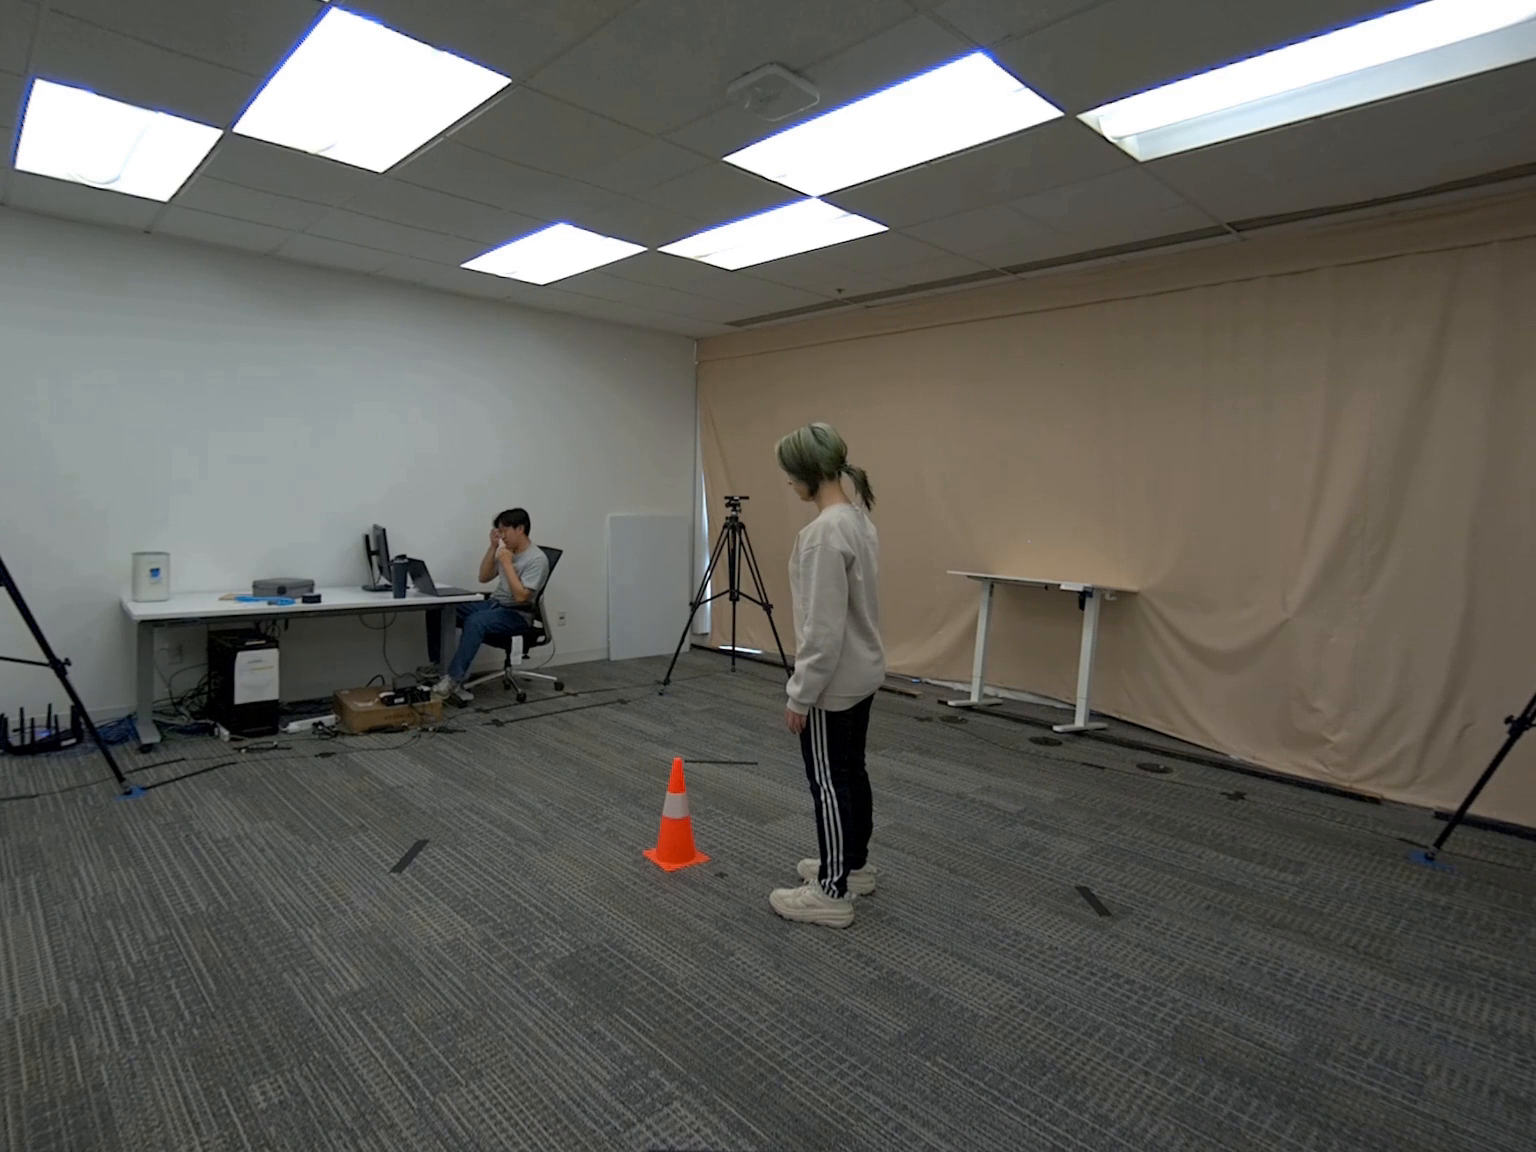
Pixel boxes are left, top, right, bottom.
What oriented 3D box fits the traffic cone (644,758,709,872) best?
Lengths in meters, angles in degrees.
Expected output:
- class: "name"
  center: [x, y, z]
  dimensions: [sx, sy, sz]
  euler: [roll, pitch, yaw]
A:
- class: "traffic cone"
  center: [-0.356, 0.903, 3.249]
  dimensions: [0.200, 0.383, 0.208]
  euler: [1, 4, -35]
